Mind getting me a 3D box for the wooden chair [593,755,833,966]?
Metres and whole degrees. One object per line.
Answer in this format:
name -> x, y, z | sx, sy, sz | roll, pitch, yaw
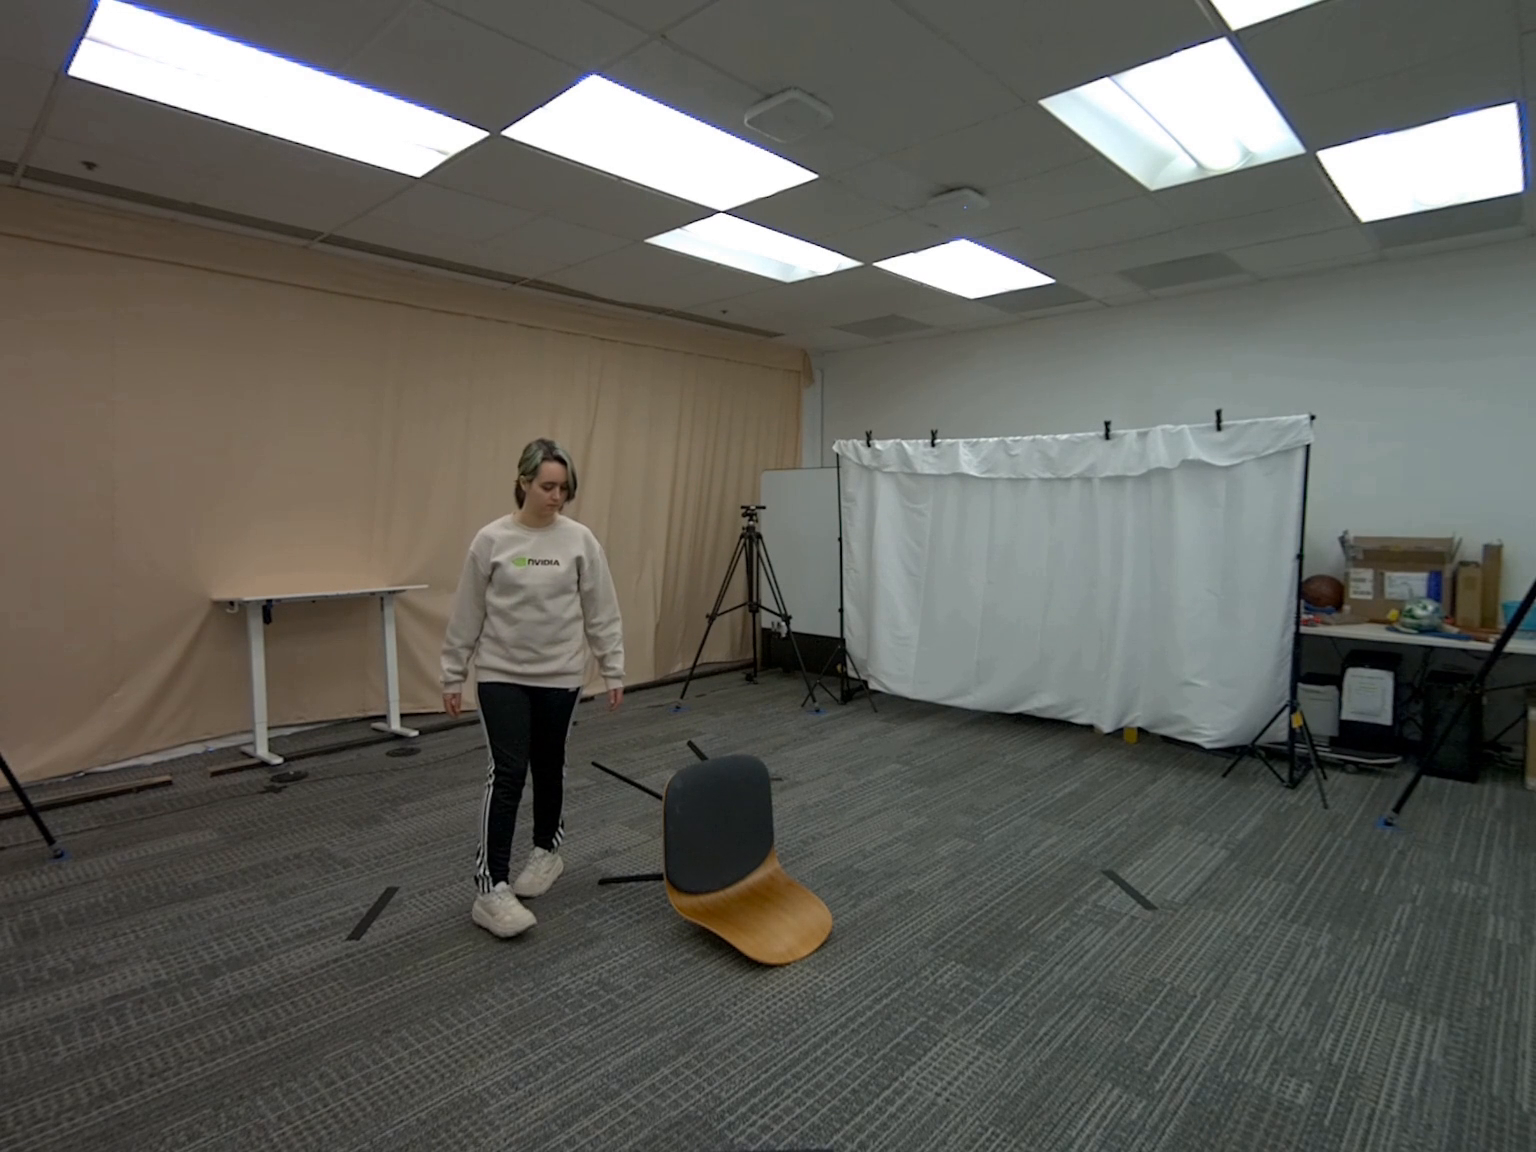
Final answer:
wooden chair -> -0.189, 0.893, 2.906 | 0.464, 0.521, 0.907 | -4, 7, -40
